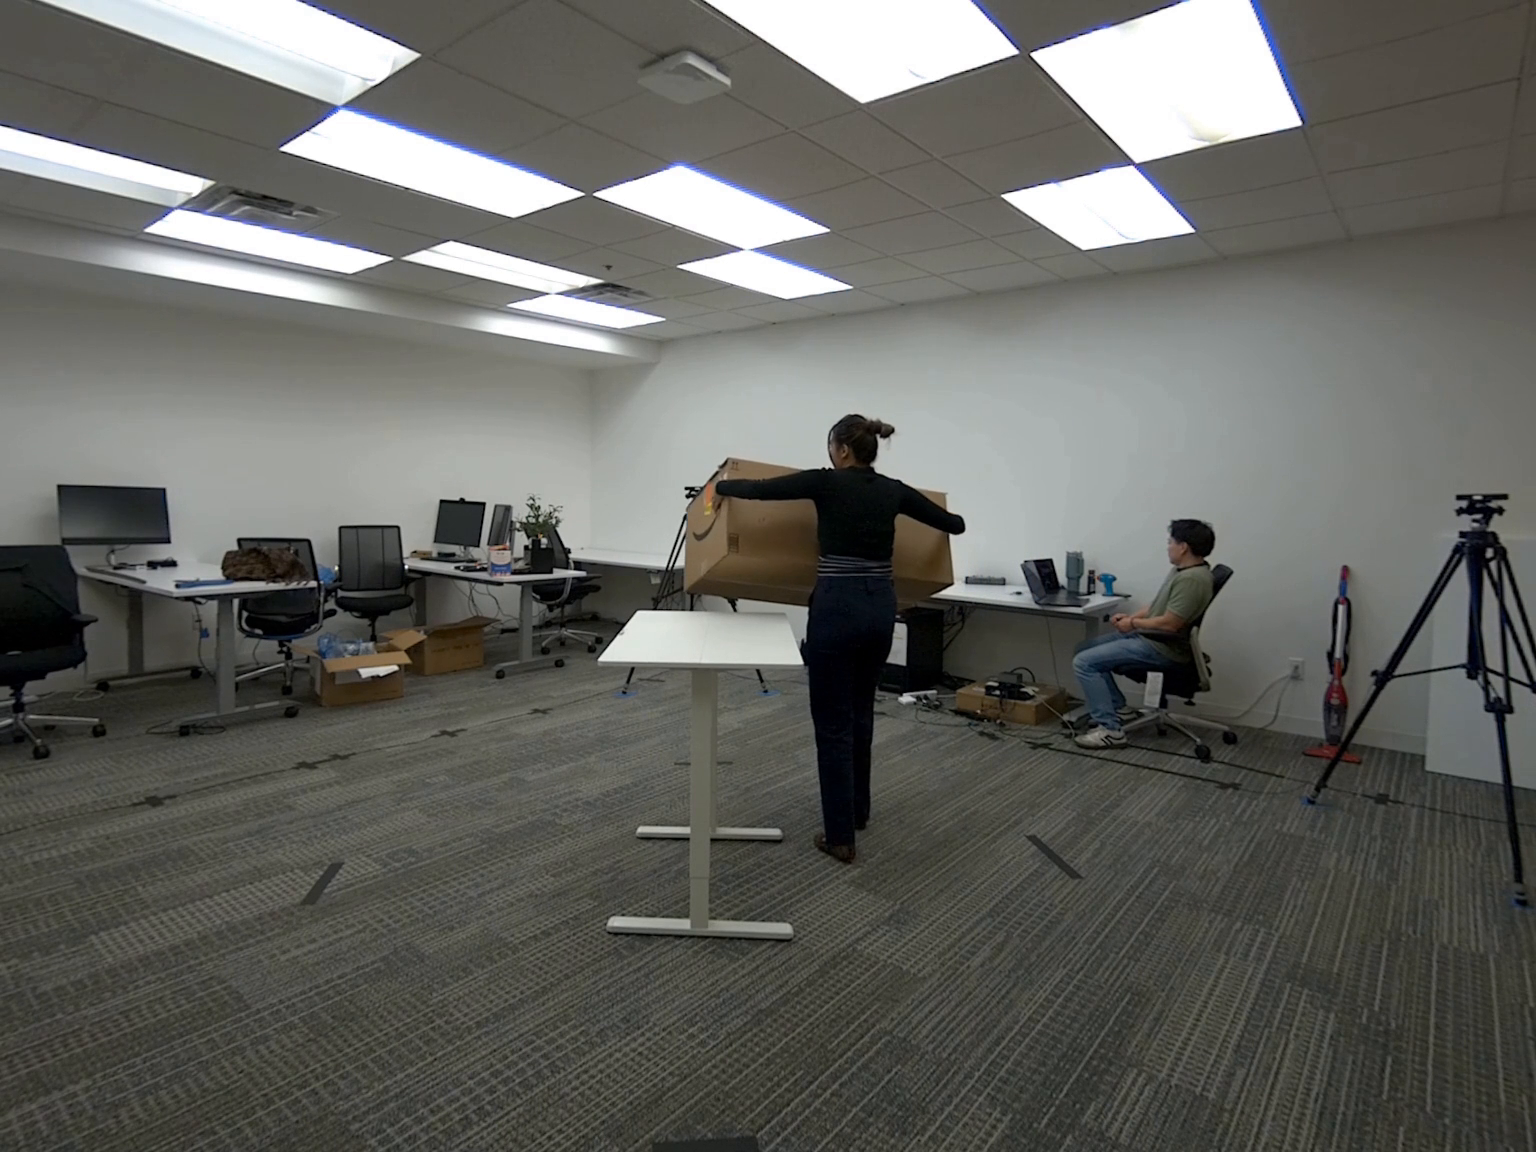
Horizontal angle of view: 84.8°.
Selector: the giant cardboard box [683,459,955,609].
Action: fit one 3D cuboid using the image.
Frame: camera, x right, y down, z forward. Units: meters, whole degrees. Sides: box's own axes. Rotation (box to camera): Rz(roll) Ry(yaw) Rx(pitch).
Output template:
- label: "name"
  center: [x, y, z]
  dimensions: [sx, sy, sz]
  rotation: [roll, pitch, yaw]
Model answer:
- label: "giant cardboard box"
  center: [0.192, -0.160, 3.764]
  dimensions: [1.006, 0.434, 0.578]
  rotation: [6, -20, -18]
